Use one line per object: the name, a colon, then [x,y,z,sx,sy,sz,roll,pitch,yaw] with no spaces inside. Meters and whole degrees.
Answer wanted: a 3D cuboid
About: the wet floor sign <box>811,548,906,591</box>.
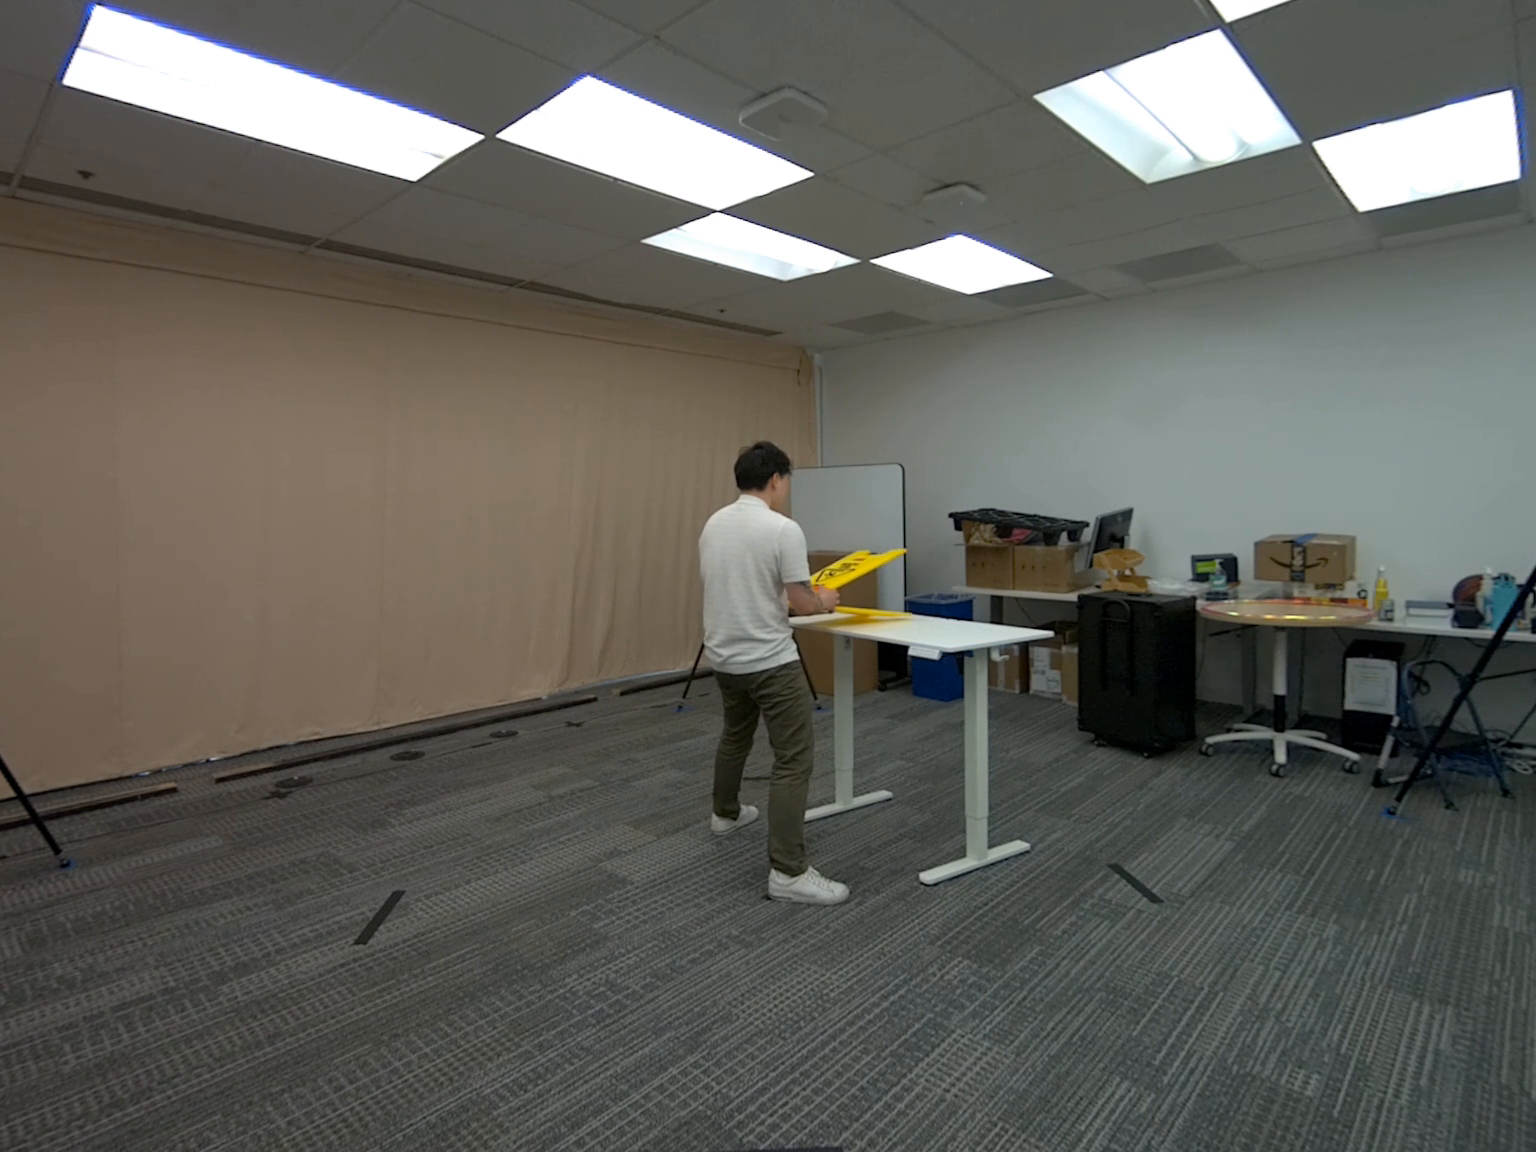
wet floor sign: [0.295,0.072,3.555,0.628,0.289,0.291,-8,4,-40]
